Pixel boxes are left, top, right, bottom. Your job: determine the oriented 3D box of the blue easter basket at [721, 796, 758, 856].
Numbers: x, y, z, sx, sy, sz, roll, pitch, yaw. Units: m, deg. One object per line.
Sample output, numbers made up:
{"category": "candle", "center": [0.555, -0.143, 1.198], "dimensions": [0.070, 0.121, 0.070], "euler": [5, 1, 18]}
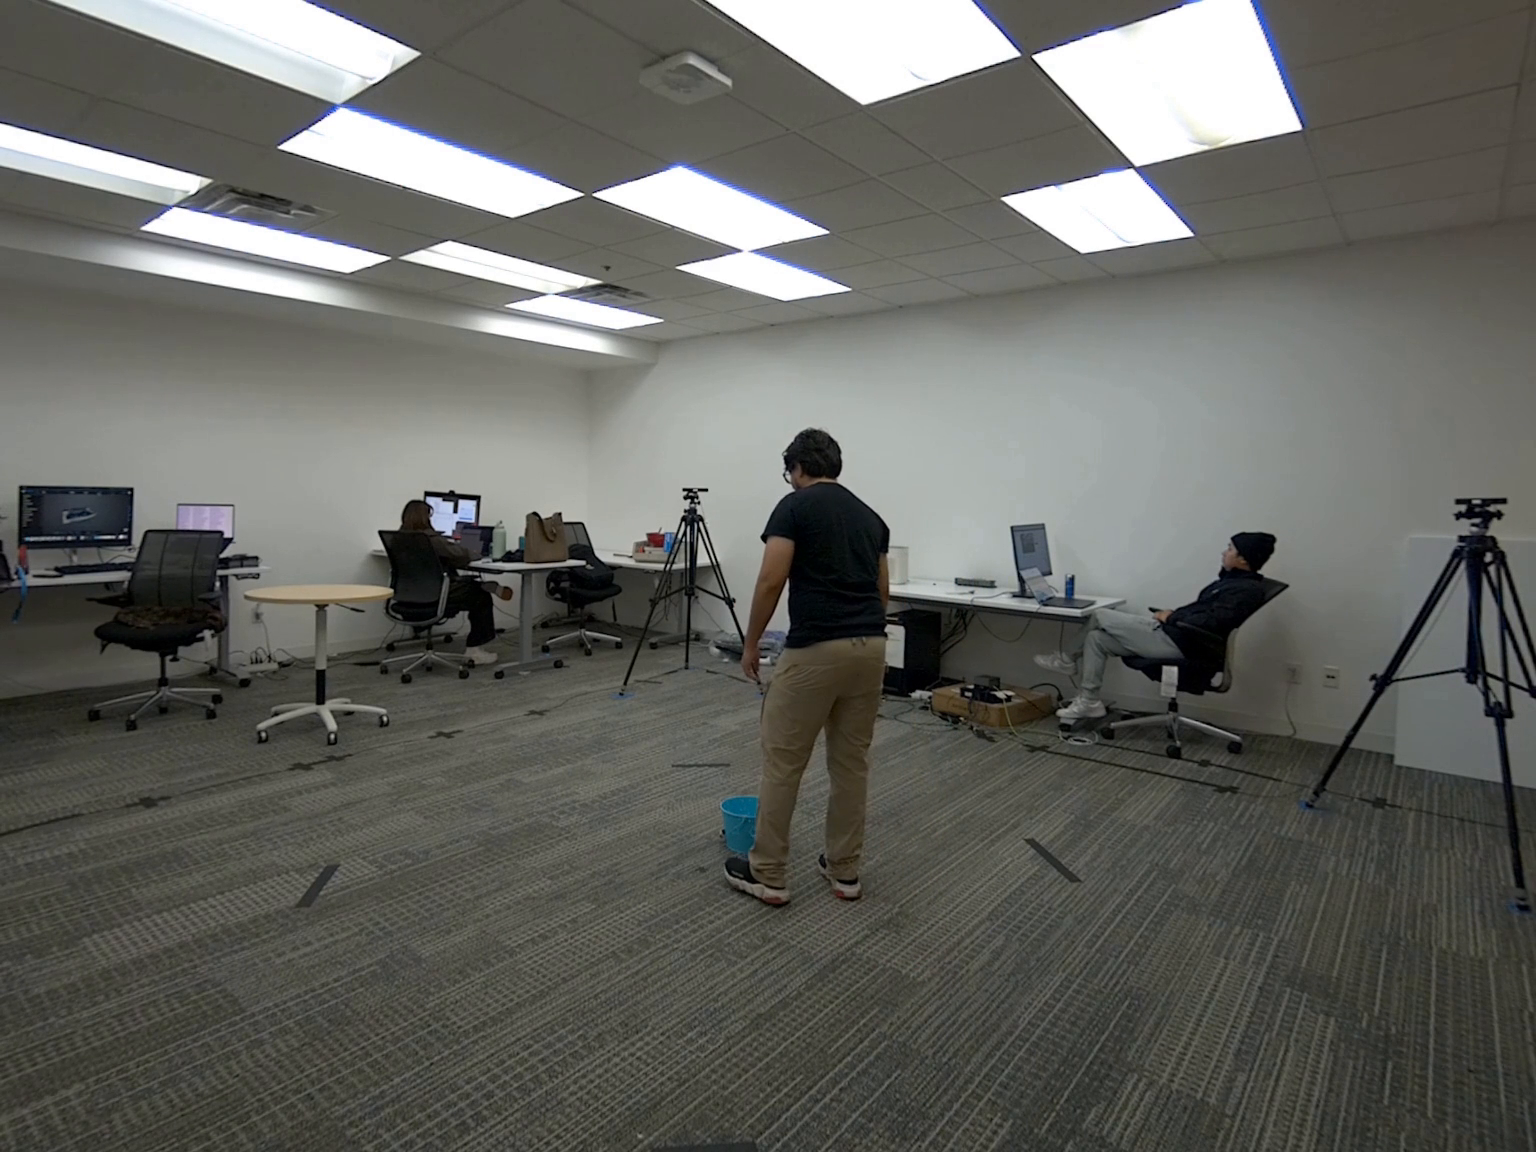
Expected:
{"category": "blue easter basket", "center": [-0.085, 0.968, 3.335], "dimensions": [0.243, 0.155, 0.245], "euler": [0, 6, -2]}
